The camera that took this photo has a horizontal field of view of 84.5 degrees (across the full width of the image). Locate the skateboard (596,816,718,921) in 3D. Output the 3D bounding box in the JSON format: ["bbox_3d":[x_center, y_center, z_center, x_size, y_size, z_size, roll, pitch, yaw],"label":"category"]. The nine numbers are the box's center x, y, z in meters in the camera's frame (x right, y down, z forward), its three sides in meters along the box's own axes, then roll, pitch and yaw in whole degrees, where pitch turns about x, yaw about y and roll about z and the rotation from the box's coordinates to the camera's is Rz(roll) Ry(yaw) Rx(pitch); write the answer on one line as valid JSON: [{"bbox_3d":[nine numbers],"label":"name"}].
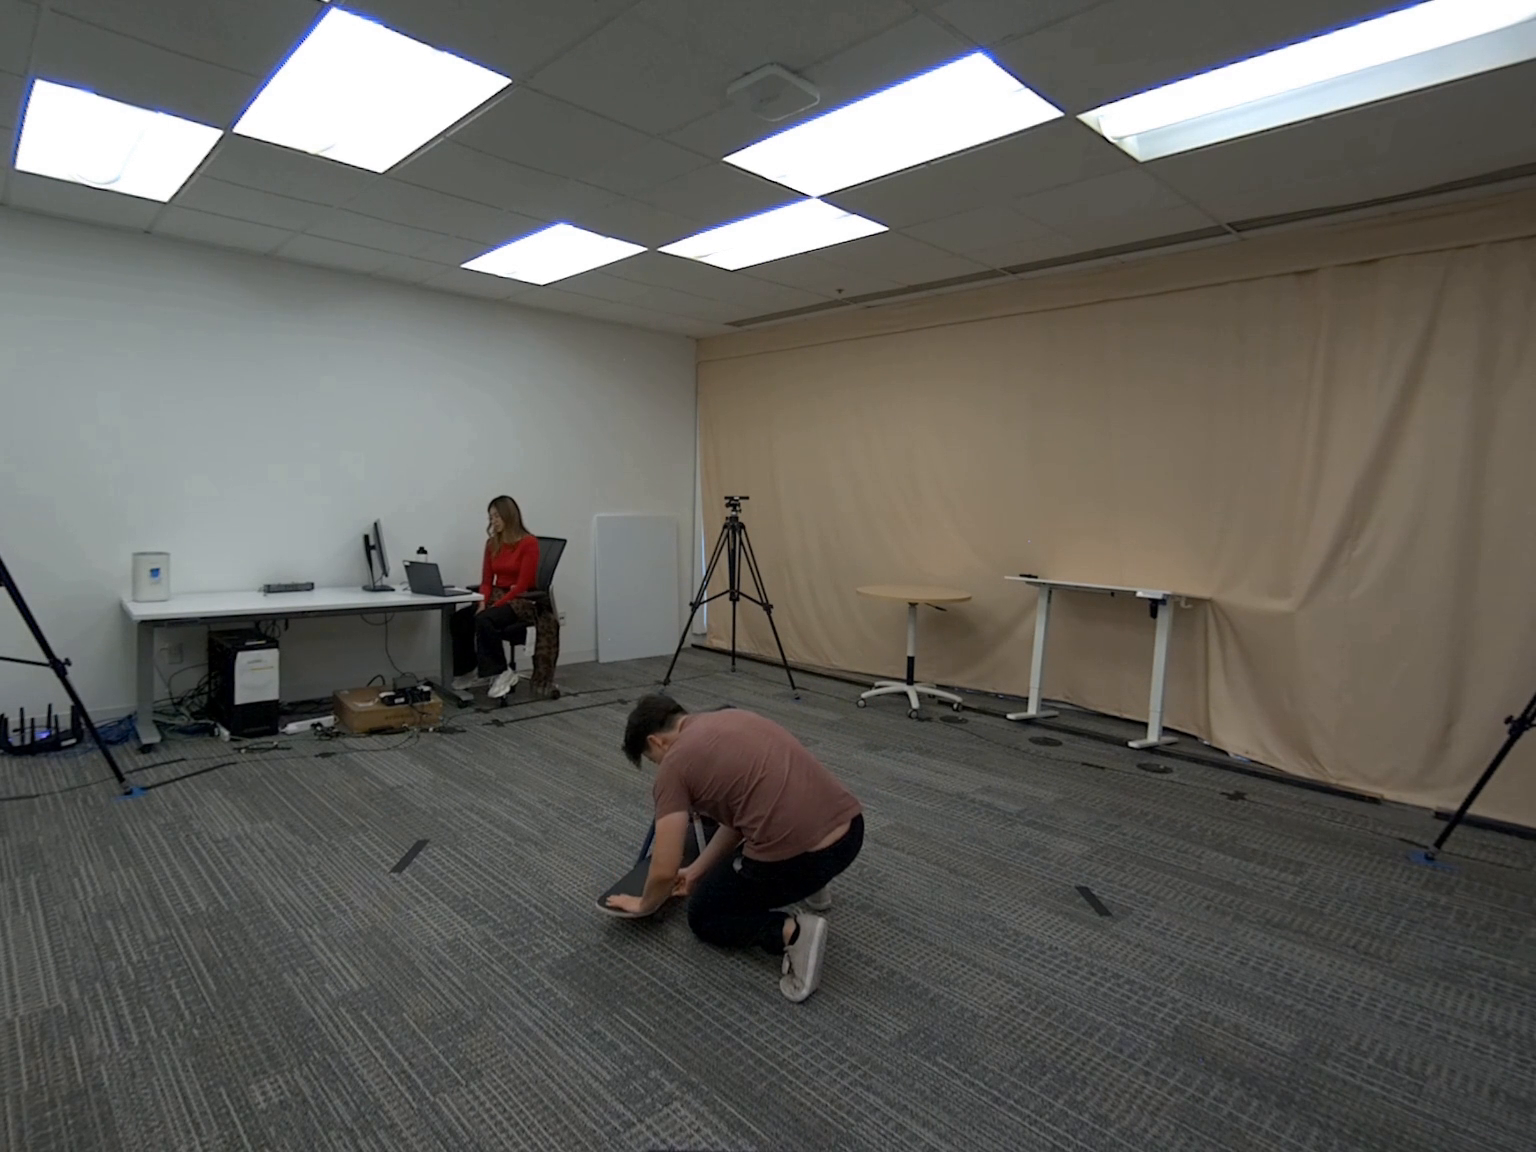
[{"bbox_3d":[-0.359,1.053,2.976,0.196,0.110,0.776,3,6,18],"label":"skateboard"}]
